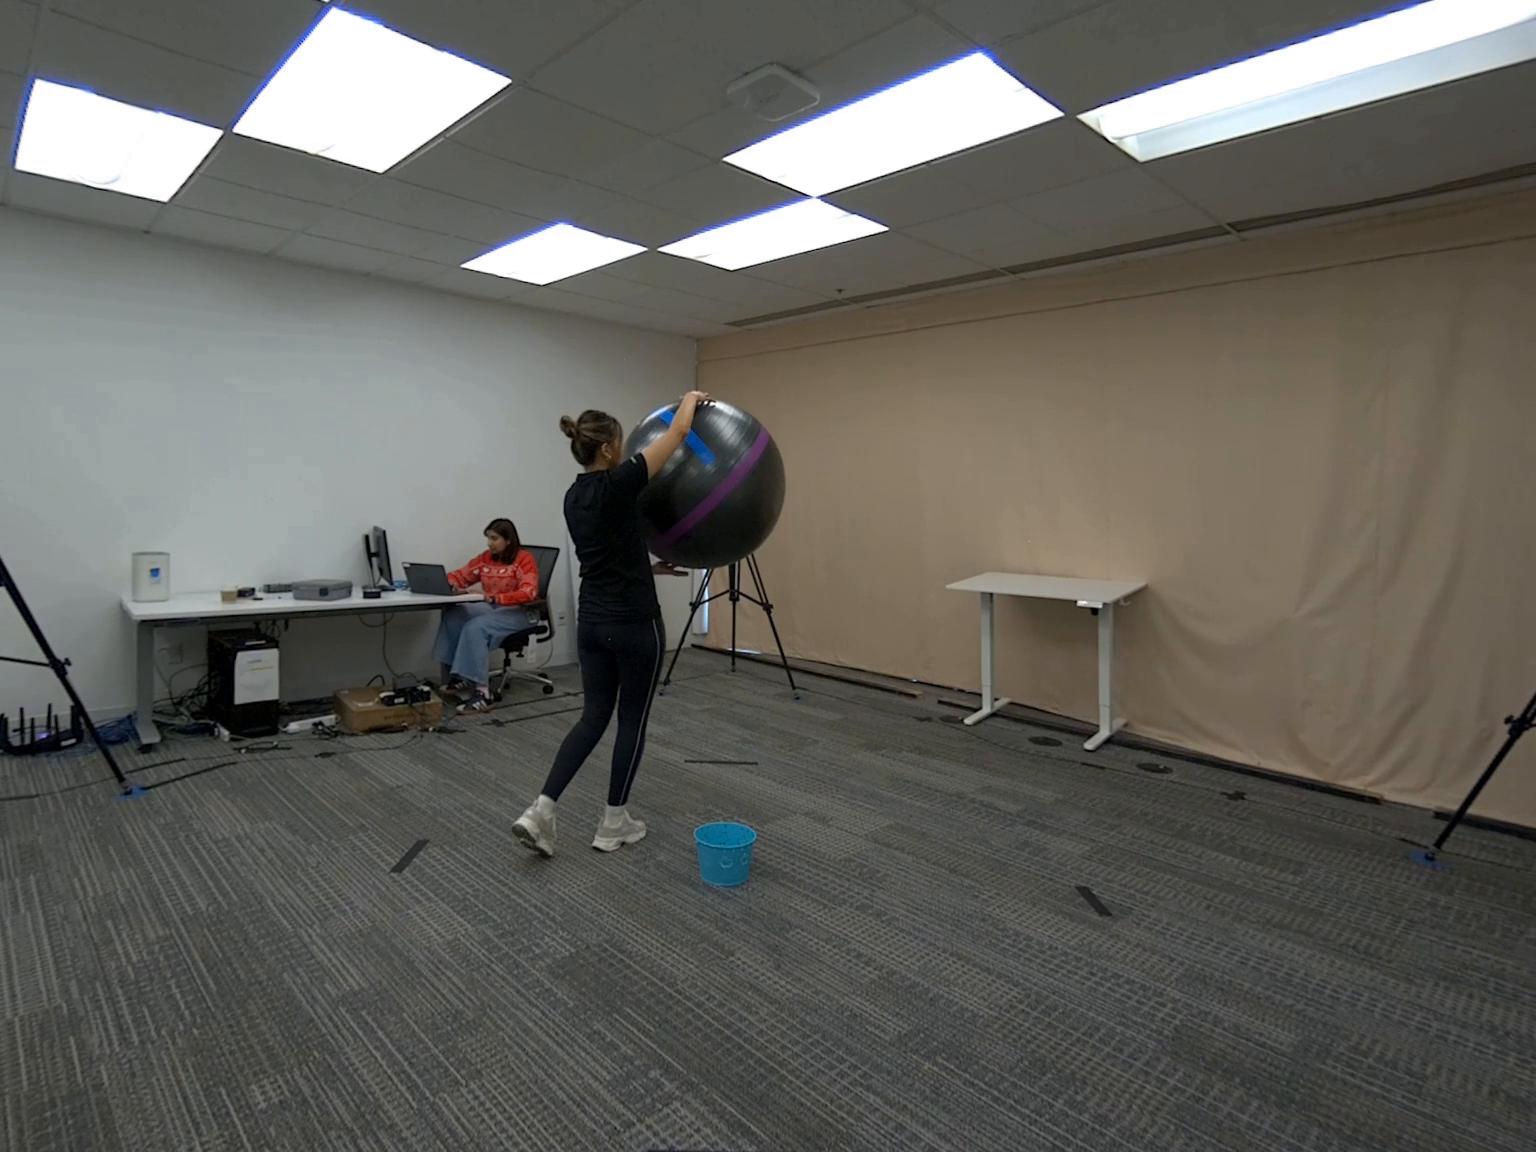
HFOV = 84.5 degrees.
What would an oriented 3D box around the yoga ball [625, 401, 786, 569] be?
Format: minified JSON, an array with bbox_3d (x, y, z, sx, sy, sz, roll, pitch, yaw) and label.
[{"bbox_3d":[-0.310,-0.404,3.734,0.757,0.756,0.761,1,4,-1],"label":"yoga ball"}]
